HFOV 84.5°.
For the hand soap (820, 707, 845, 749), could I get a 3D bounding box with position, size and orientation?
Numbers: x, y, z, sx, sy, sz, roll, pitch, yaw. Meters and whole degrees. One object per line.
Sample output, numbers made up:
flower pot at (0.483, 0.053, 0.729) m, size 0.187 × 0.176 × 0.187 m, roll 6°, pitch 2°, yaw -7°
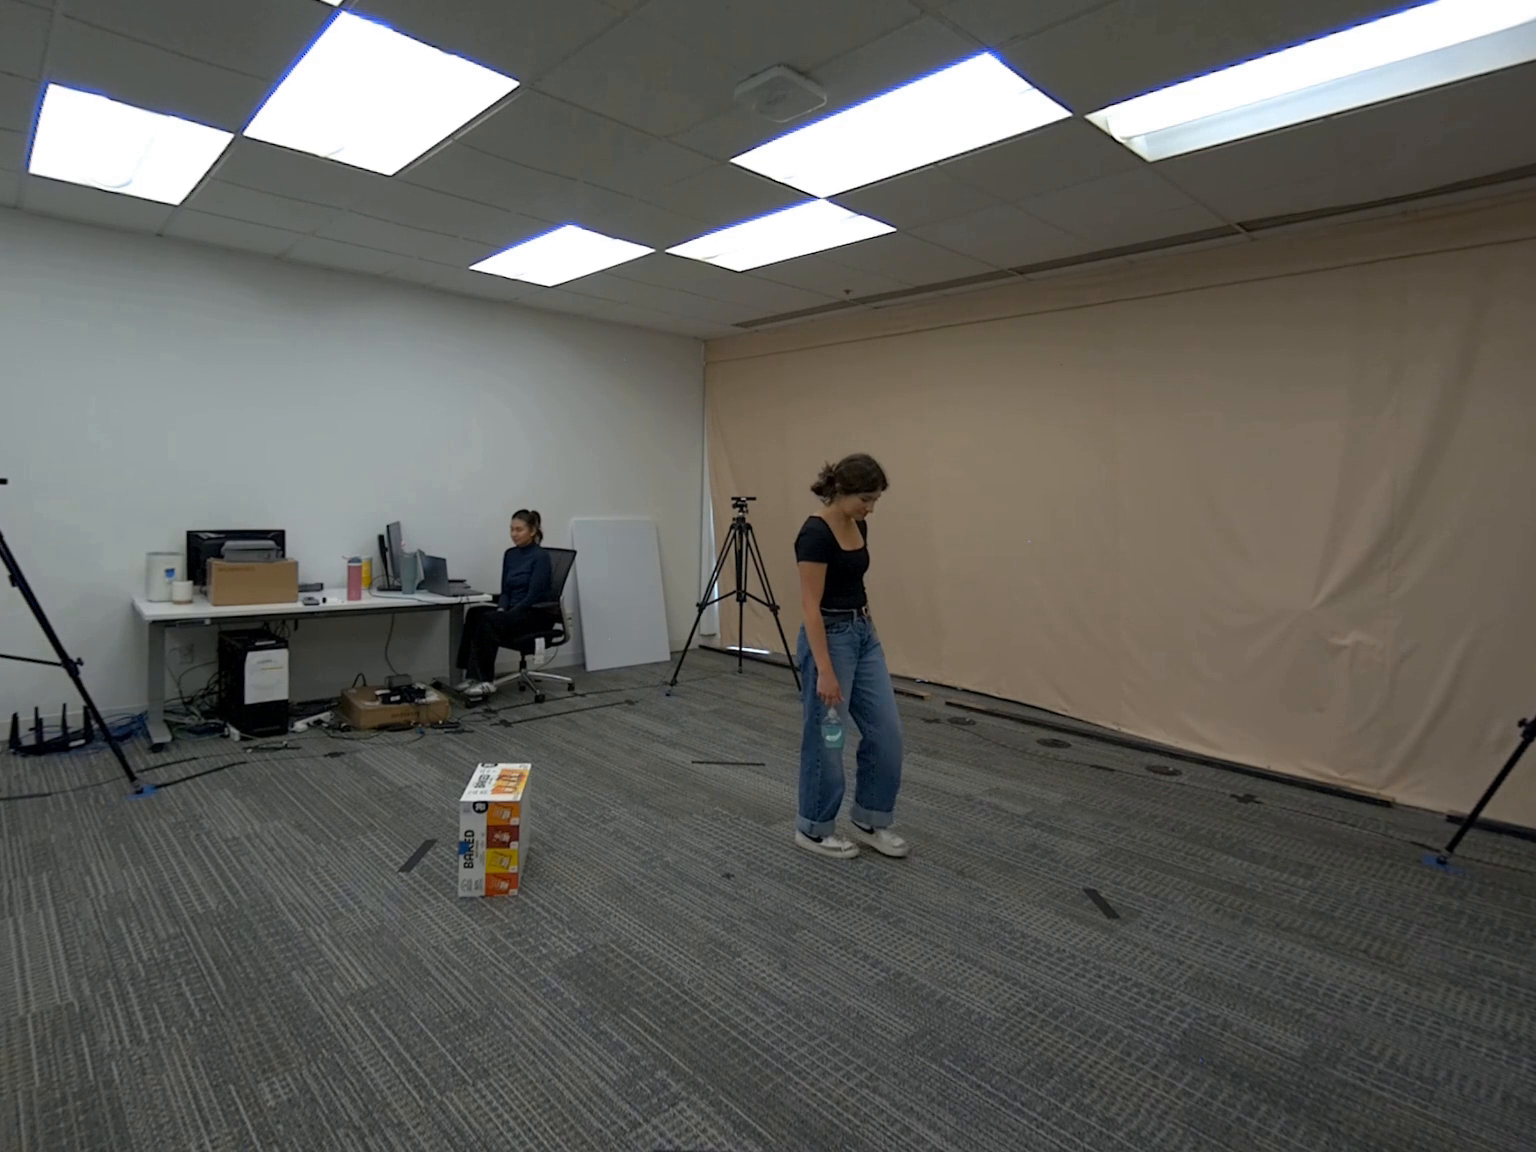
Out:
hand soap at (0.218, 0.525, 3.077) m, size 0.084 × 0.168 × 0.043 m, roll -4°, pitch 2°, yaw -2°
